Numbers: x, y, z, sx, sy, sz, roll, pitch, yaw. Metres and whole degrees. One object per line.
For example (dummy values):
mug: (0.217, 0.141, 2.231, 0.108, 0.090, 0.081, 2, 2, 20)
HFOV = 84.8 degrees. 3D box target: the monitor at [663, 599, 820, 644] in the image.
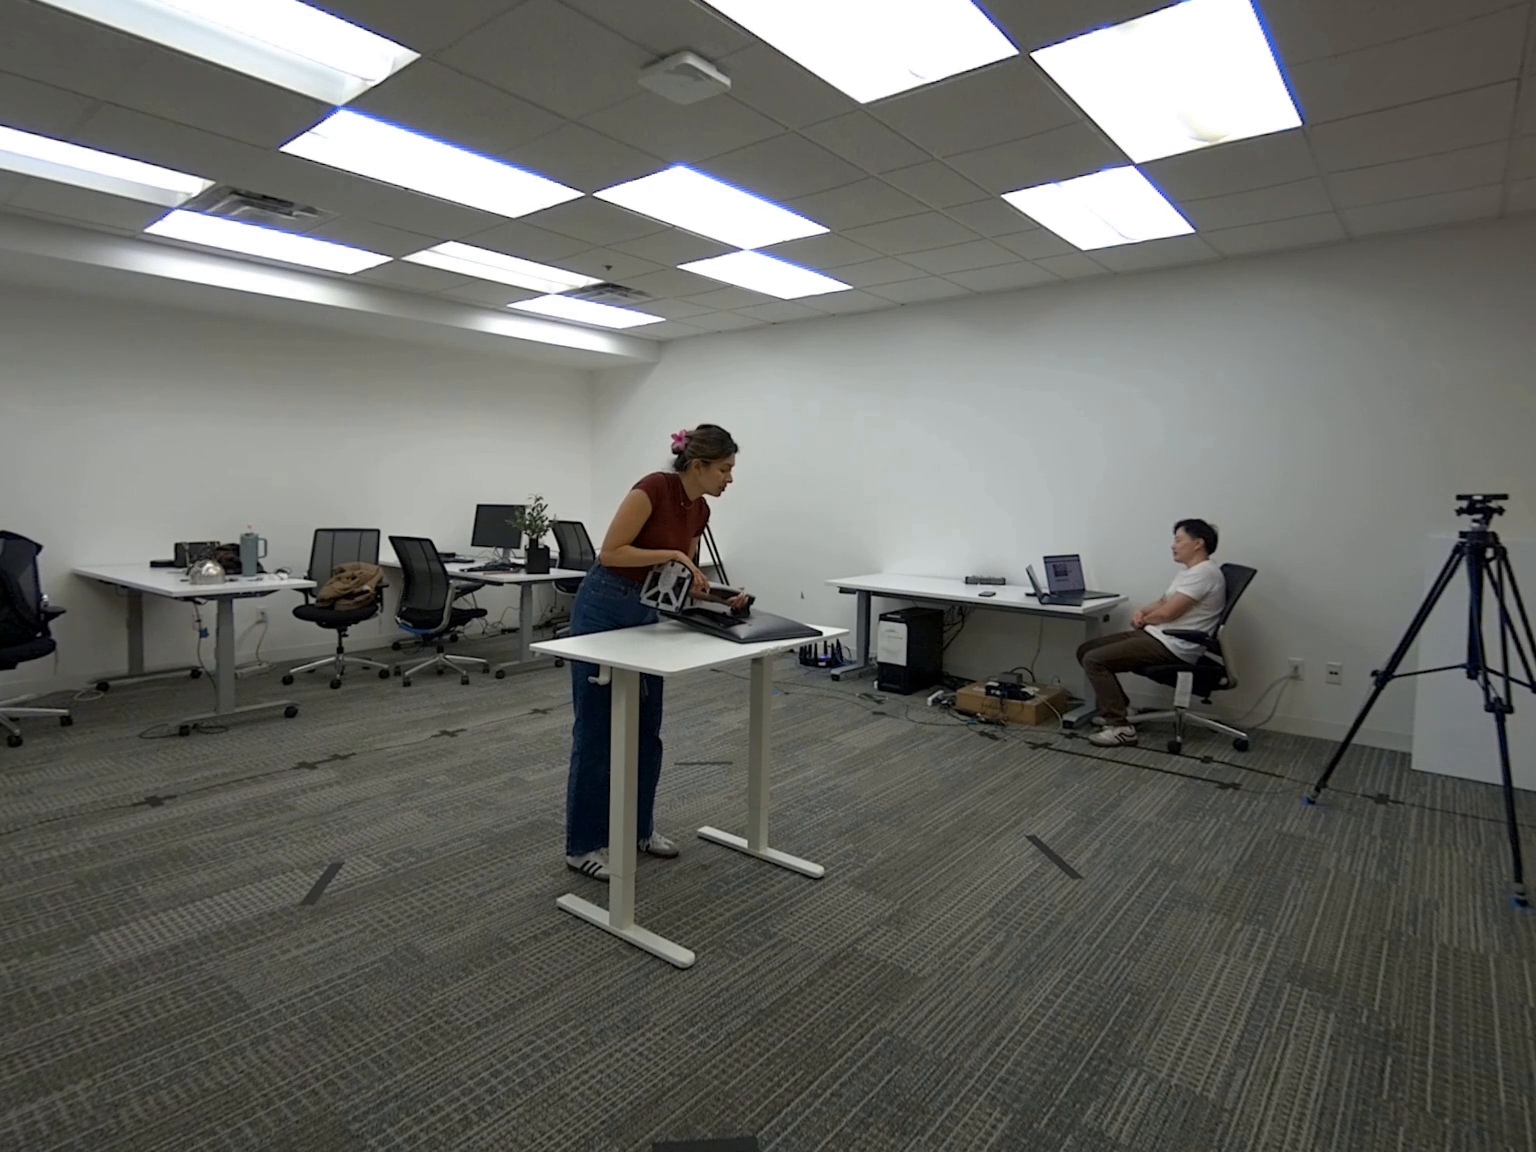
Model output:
monitor: (-0.166, 0.108, 3.031, 0.504, 0.187, 0.558, 20, -4, -35)
